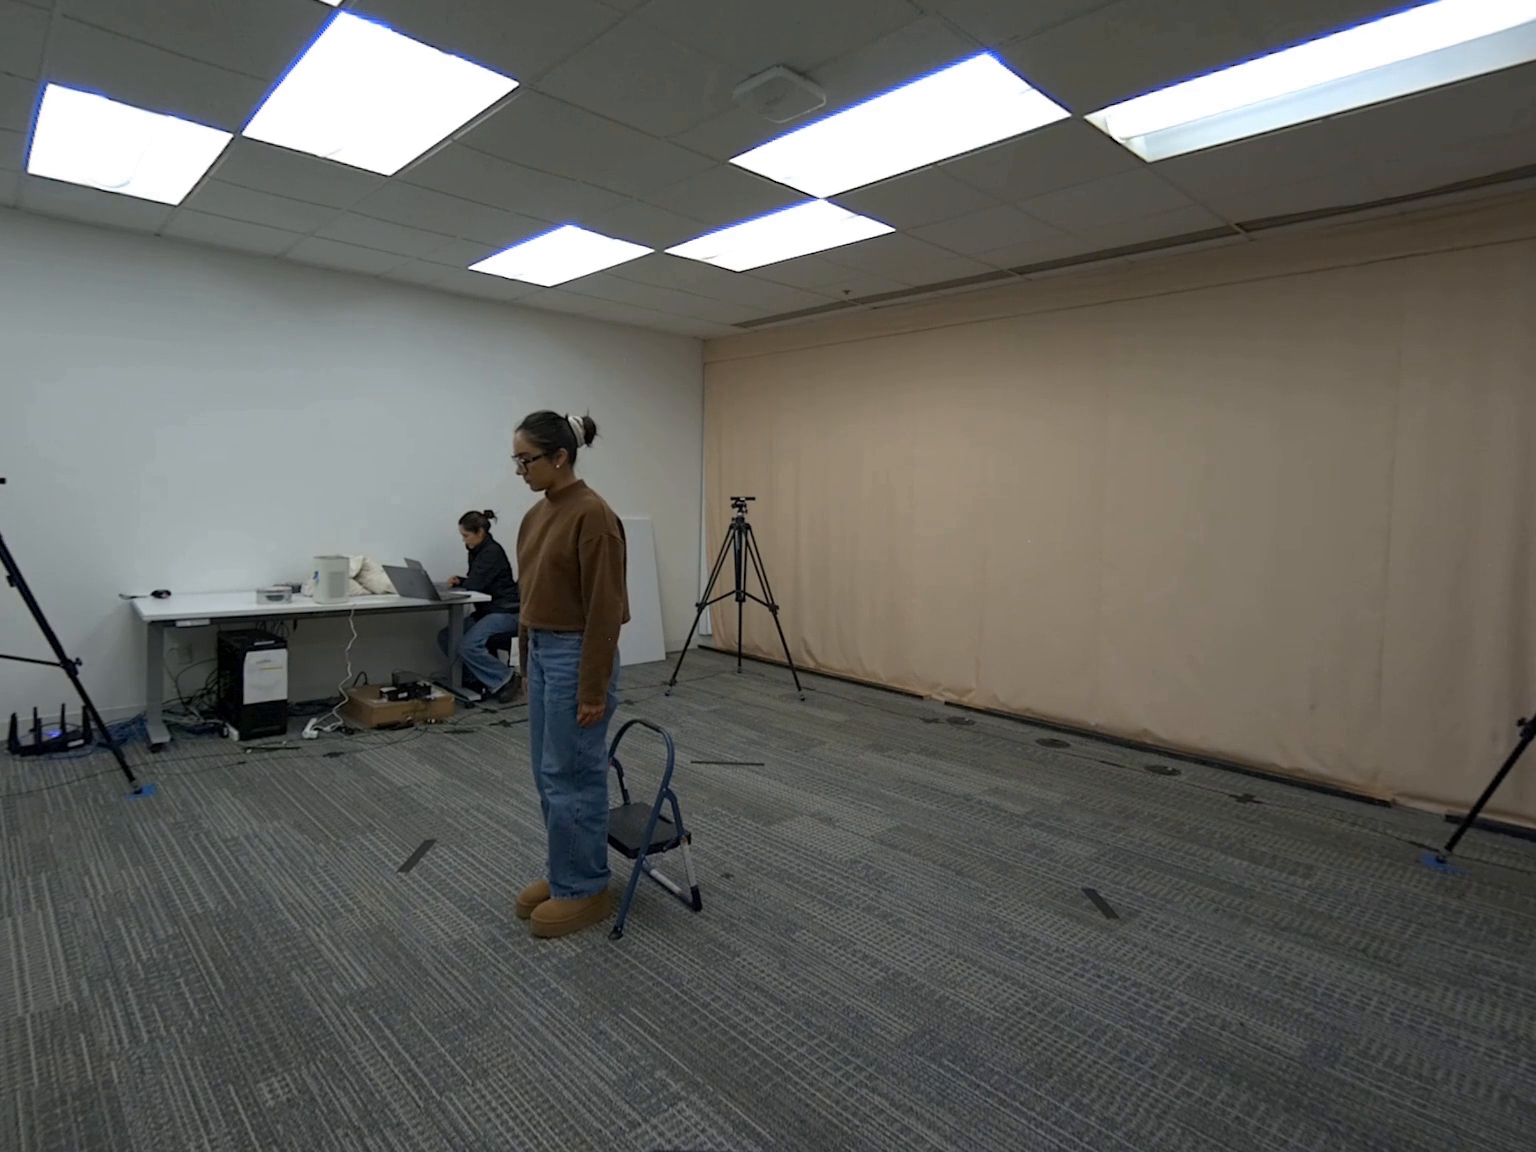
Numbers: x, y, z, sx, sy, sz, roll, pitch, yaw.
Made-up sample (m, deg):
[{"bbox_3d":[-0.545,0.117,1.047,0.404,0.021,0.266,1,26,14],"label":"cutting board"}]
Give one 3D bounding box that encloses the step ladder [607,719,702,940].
[{"bbox_3d":[-0.474,0.816,2.891,0.341,0.605,0.441,-1,4,-37],"label":"step ladder"}]
